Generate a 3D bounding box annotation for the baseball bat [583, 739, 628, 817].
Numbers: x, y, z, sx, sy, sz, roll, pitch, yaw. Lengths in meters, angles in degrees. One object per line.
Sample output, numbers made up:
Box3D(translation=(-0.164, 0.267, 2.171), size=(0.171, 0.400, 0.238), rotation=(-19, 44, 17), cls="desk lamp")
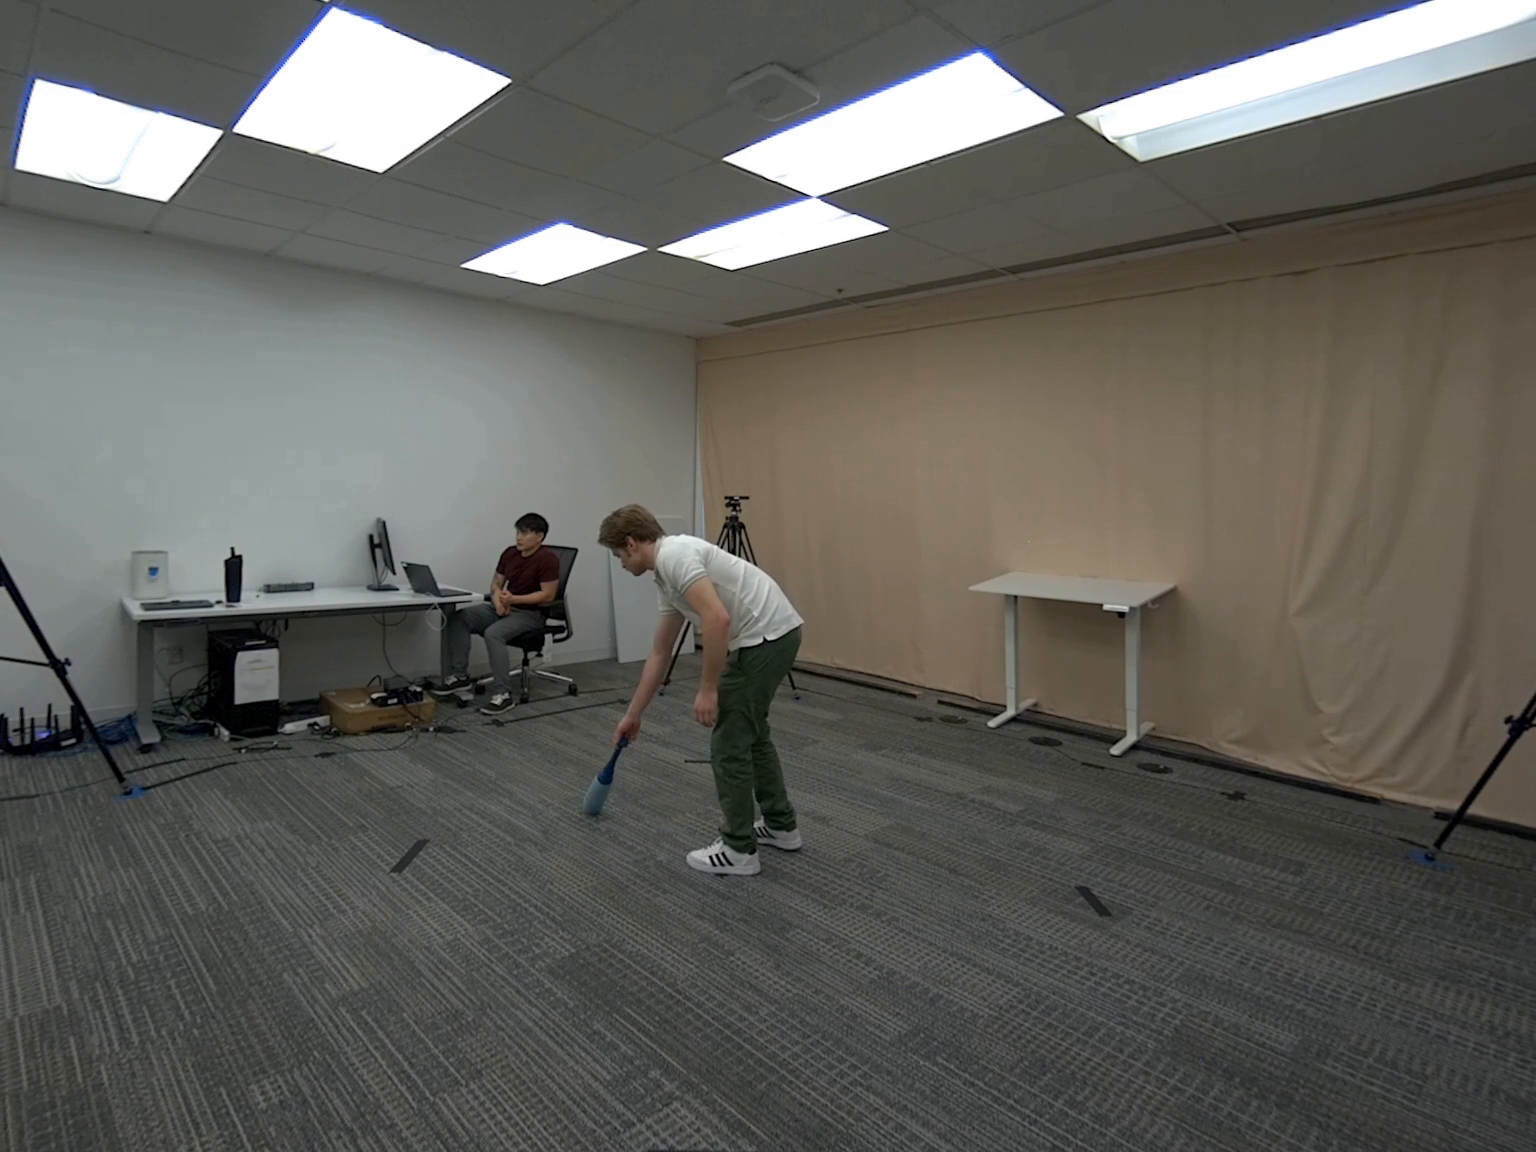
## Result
Box3D(translation=(-0.678, 0.839, 3.526), size=(0.088, 0.538, 0.091), rotation=(15, 42, -15), cls="baseball bat")
